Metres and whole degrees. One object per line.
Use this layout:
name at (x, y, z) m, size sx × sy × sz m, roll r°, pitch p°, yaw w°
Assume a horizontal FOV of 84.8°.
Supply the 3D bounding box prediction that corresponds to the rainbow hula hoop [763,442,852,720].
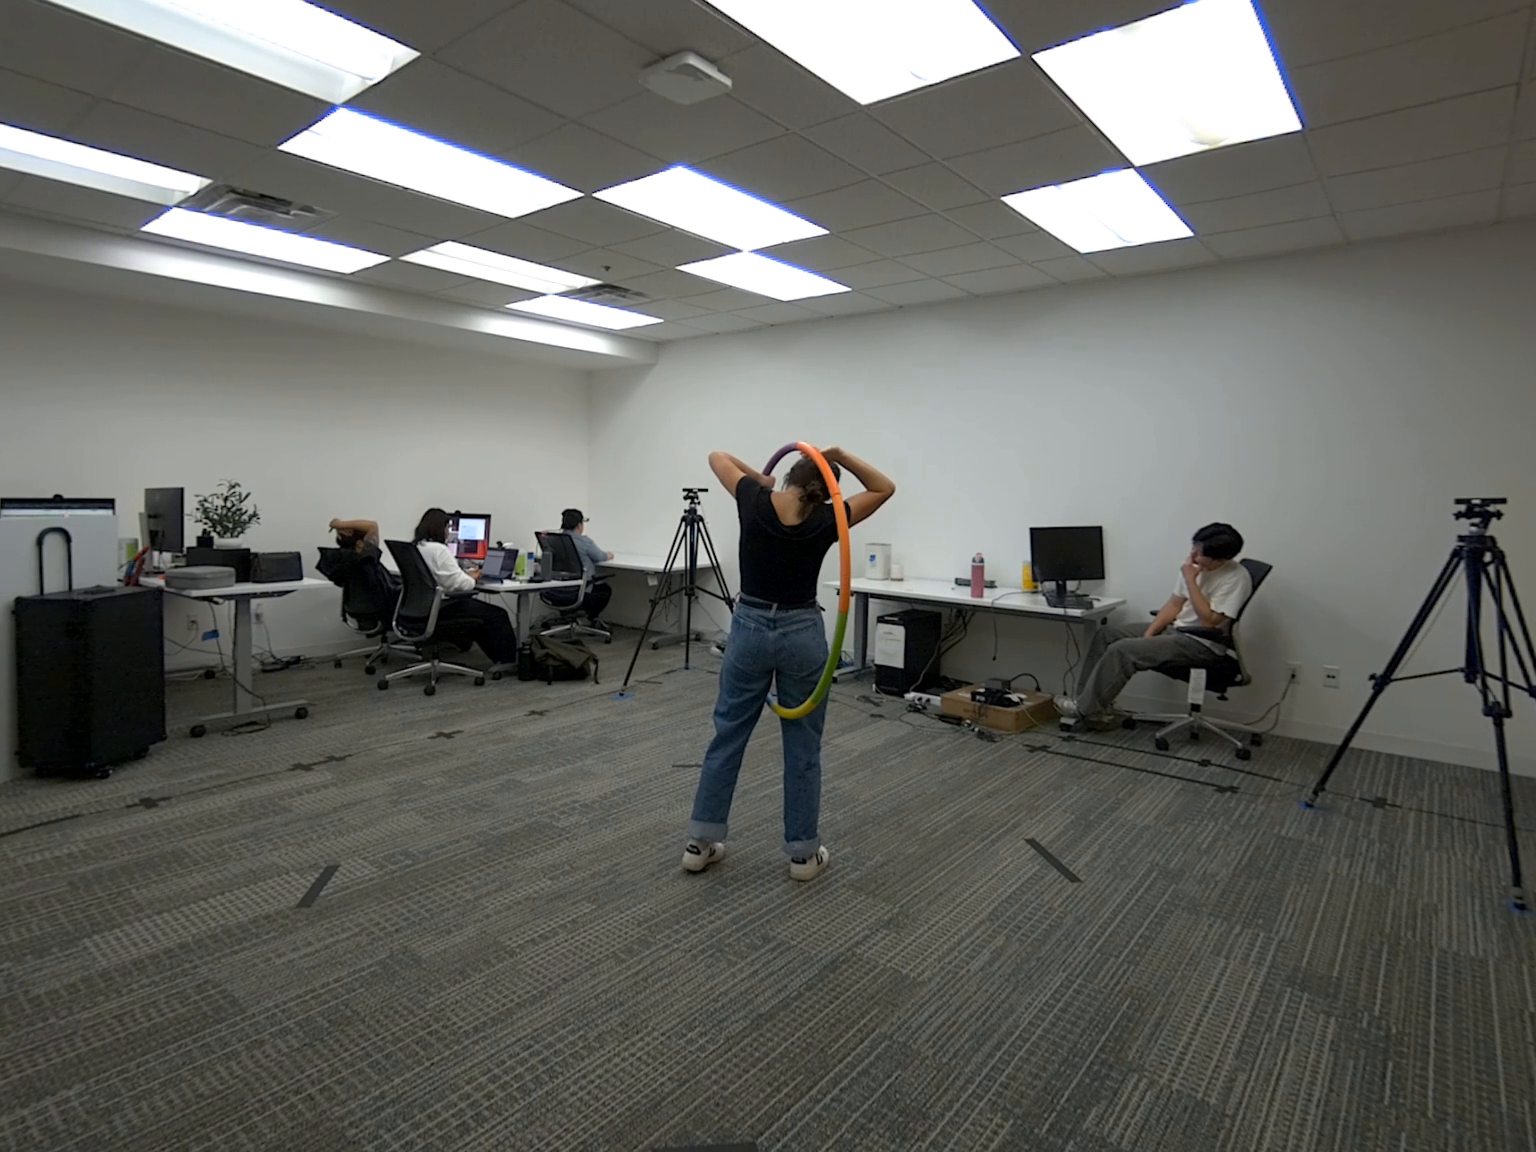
rainbow hula hoop at (0.076, -0.006, 3.089) m, size 0.035 × 0.976 × 1.000 m, roll 2°, pitch 4°, yaw -20°
